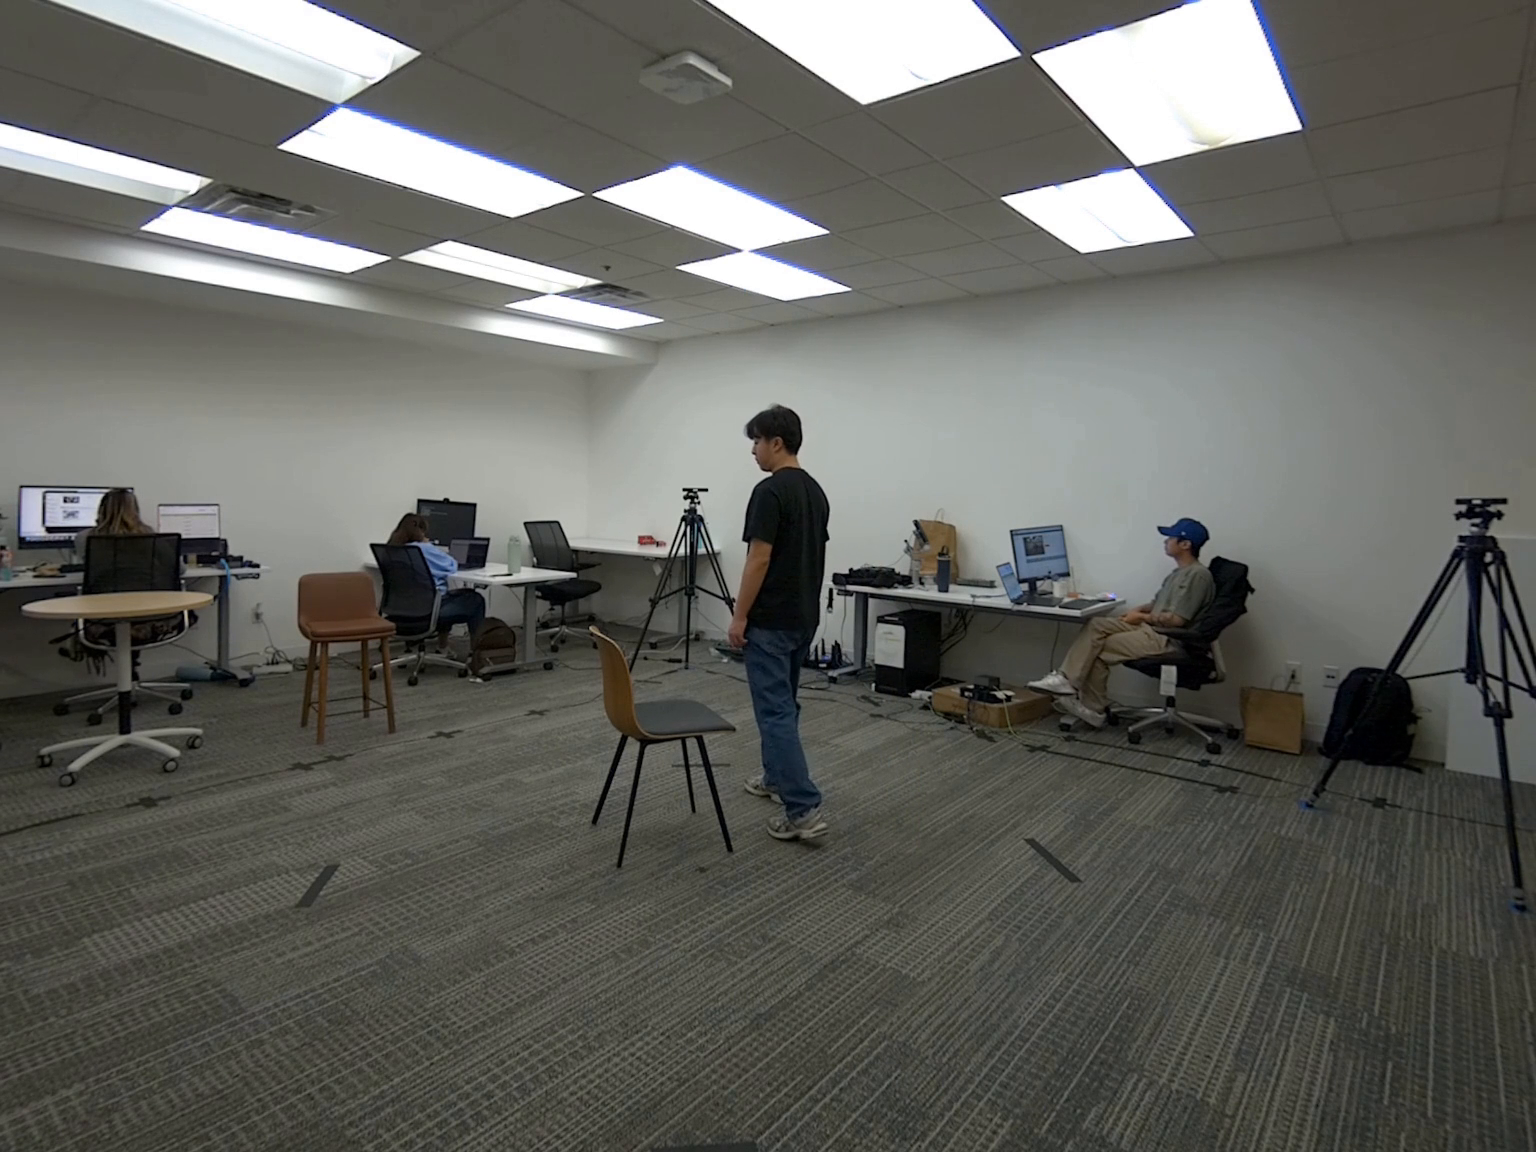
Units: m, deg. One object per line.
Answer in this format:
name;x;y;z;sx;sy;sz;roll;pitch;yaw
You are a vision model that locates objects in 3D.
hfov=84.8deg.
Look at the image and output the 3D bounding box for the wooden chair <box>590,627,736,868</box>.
wooden chair;-0.430;0.614;3.361;0.513;0.874;0.490;-5;4;-22
